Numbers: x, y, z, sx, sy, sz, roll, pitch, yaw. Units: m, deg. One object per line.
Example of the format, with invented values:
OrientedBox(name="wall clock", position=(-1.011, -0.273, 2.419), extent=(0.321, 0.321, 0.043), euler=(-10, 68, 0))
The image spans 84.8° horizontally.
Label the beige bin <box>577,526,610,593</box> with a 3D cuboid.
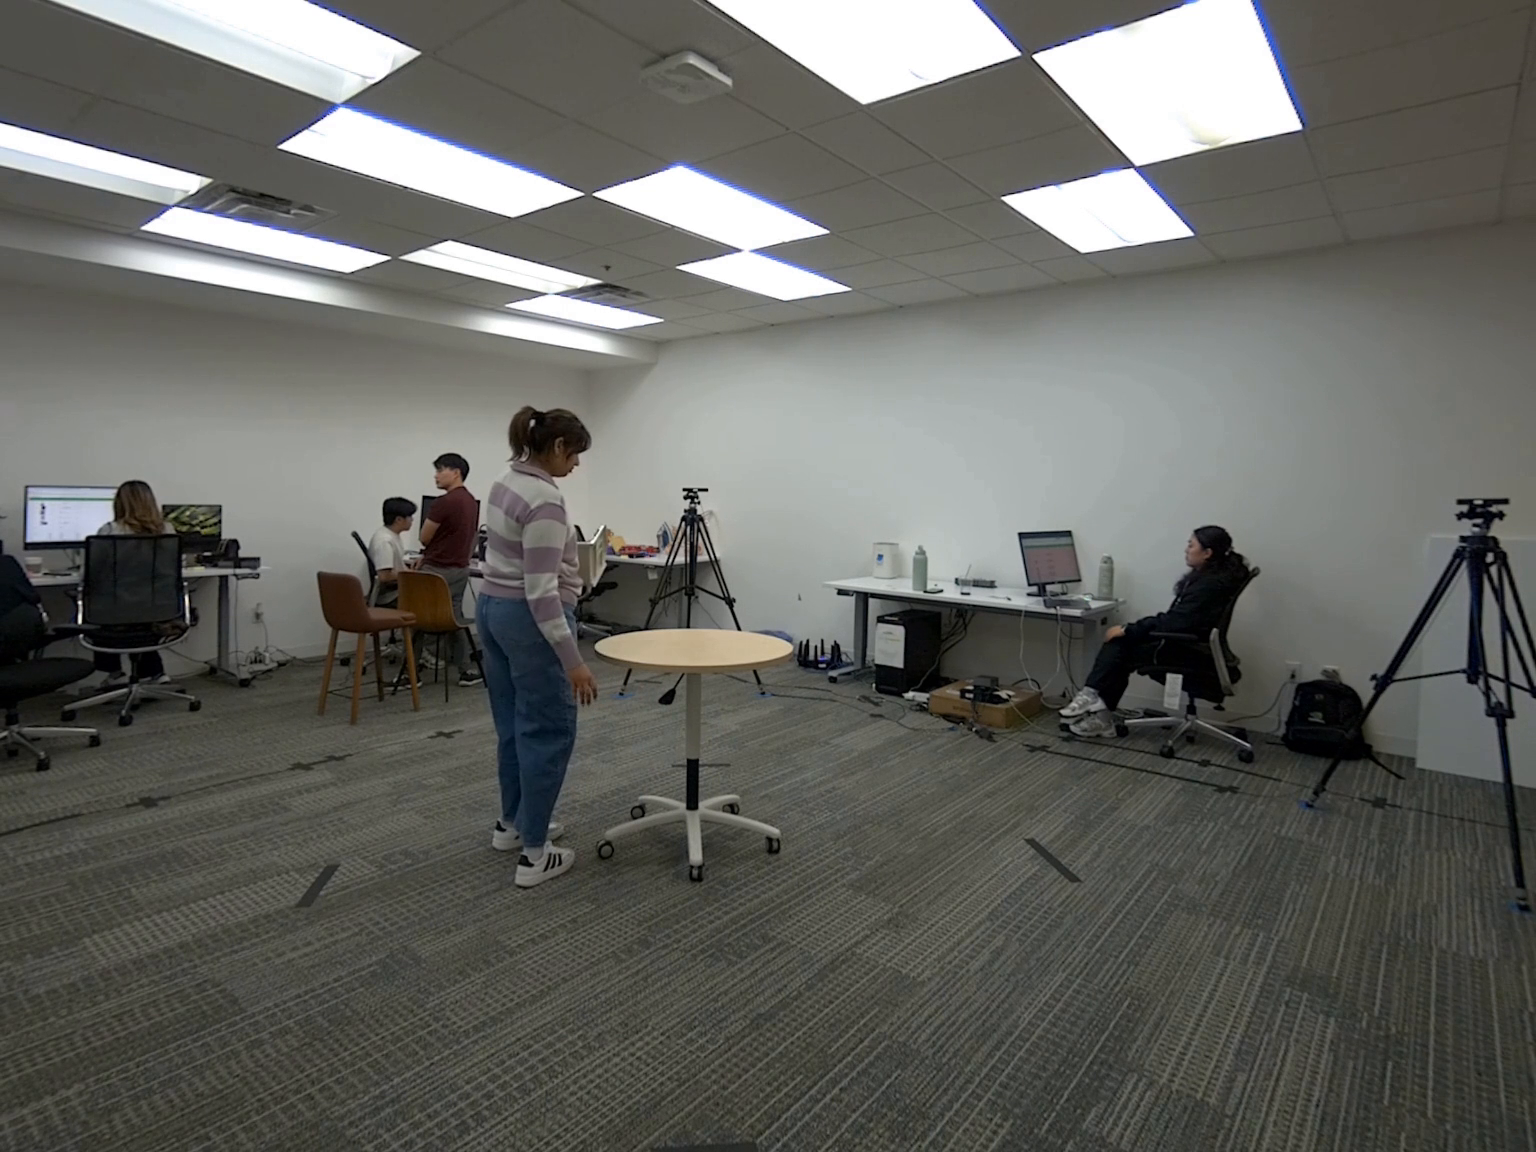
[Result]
OrientedBox(name="beige bin", position=(-0.898, -0.080, 3.439), extent=(0.423, 0.186, 0.383), euler=(-3, 18, 0))
